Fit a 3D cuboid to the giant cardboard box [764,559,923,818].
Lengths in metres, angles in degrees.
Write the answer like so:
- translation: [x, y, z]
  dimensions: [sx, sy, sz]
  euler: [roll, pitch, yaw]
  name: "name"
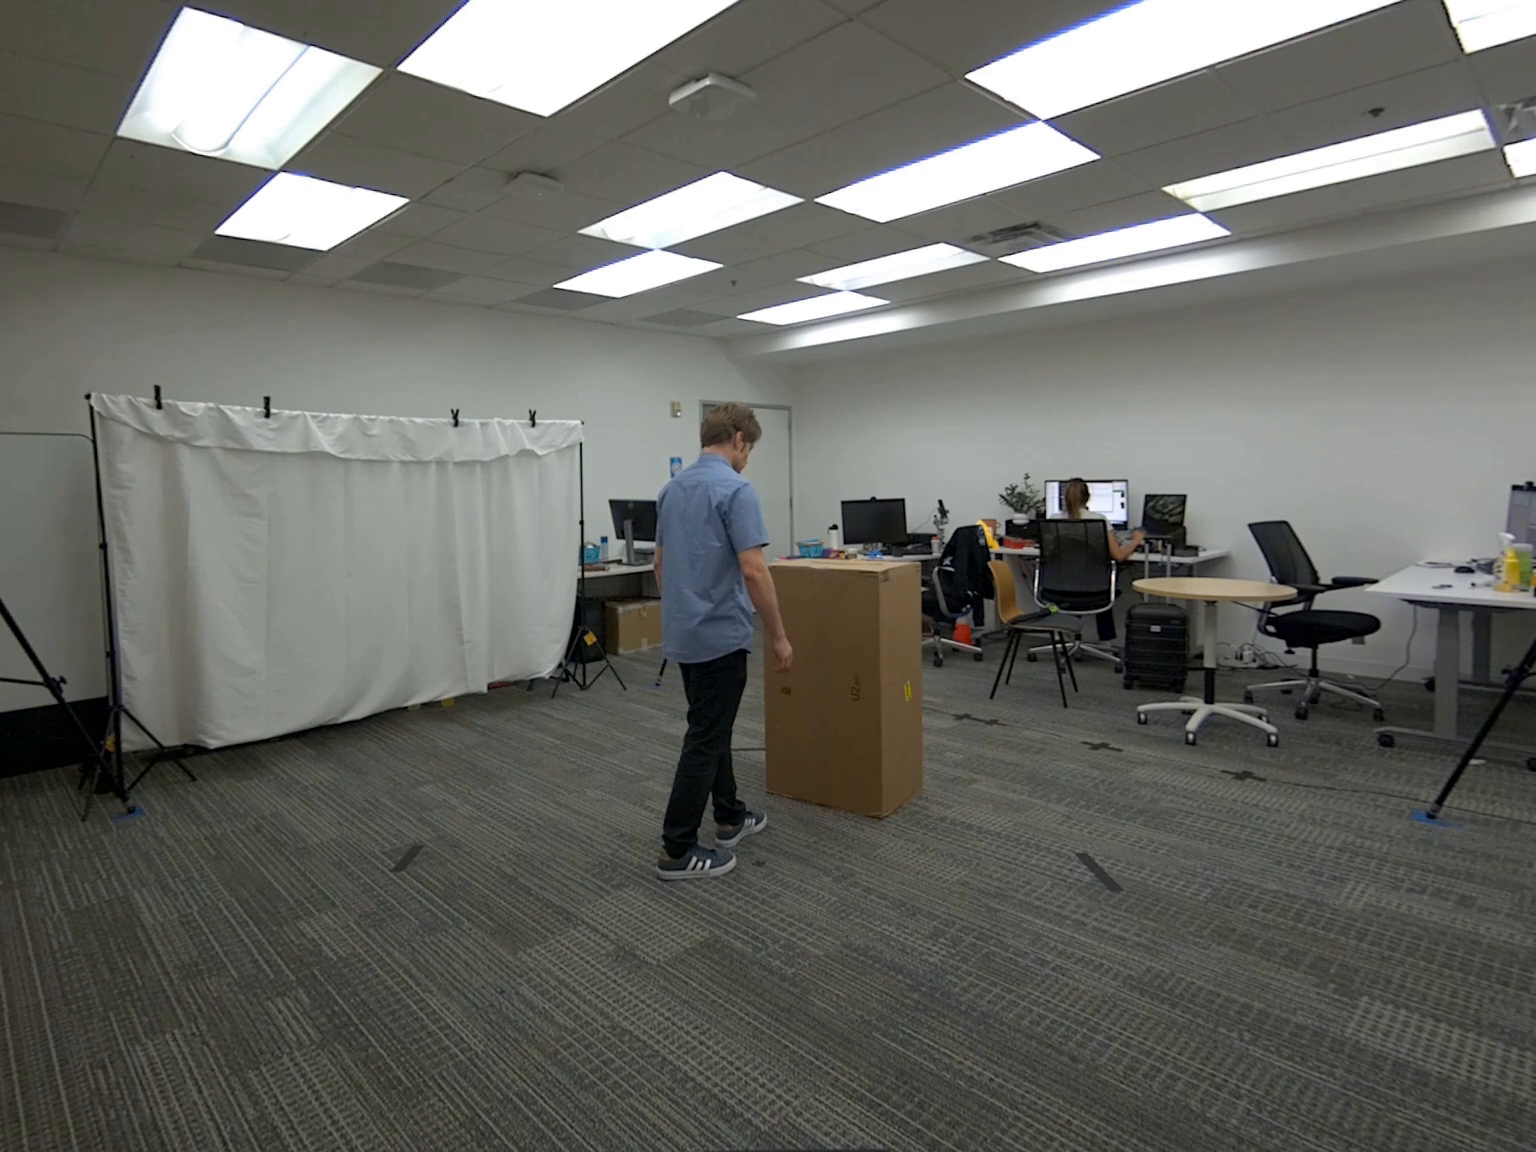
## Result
- translation: [0.334, 0.455, 3.804]
  dimensions: [0.594, 1.023, 0.415]
  euler: [2, 4, 36]
  name: "giant cardboard box"
